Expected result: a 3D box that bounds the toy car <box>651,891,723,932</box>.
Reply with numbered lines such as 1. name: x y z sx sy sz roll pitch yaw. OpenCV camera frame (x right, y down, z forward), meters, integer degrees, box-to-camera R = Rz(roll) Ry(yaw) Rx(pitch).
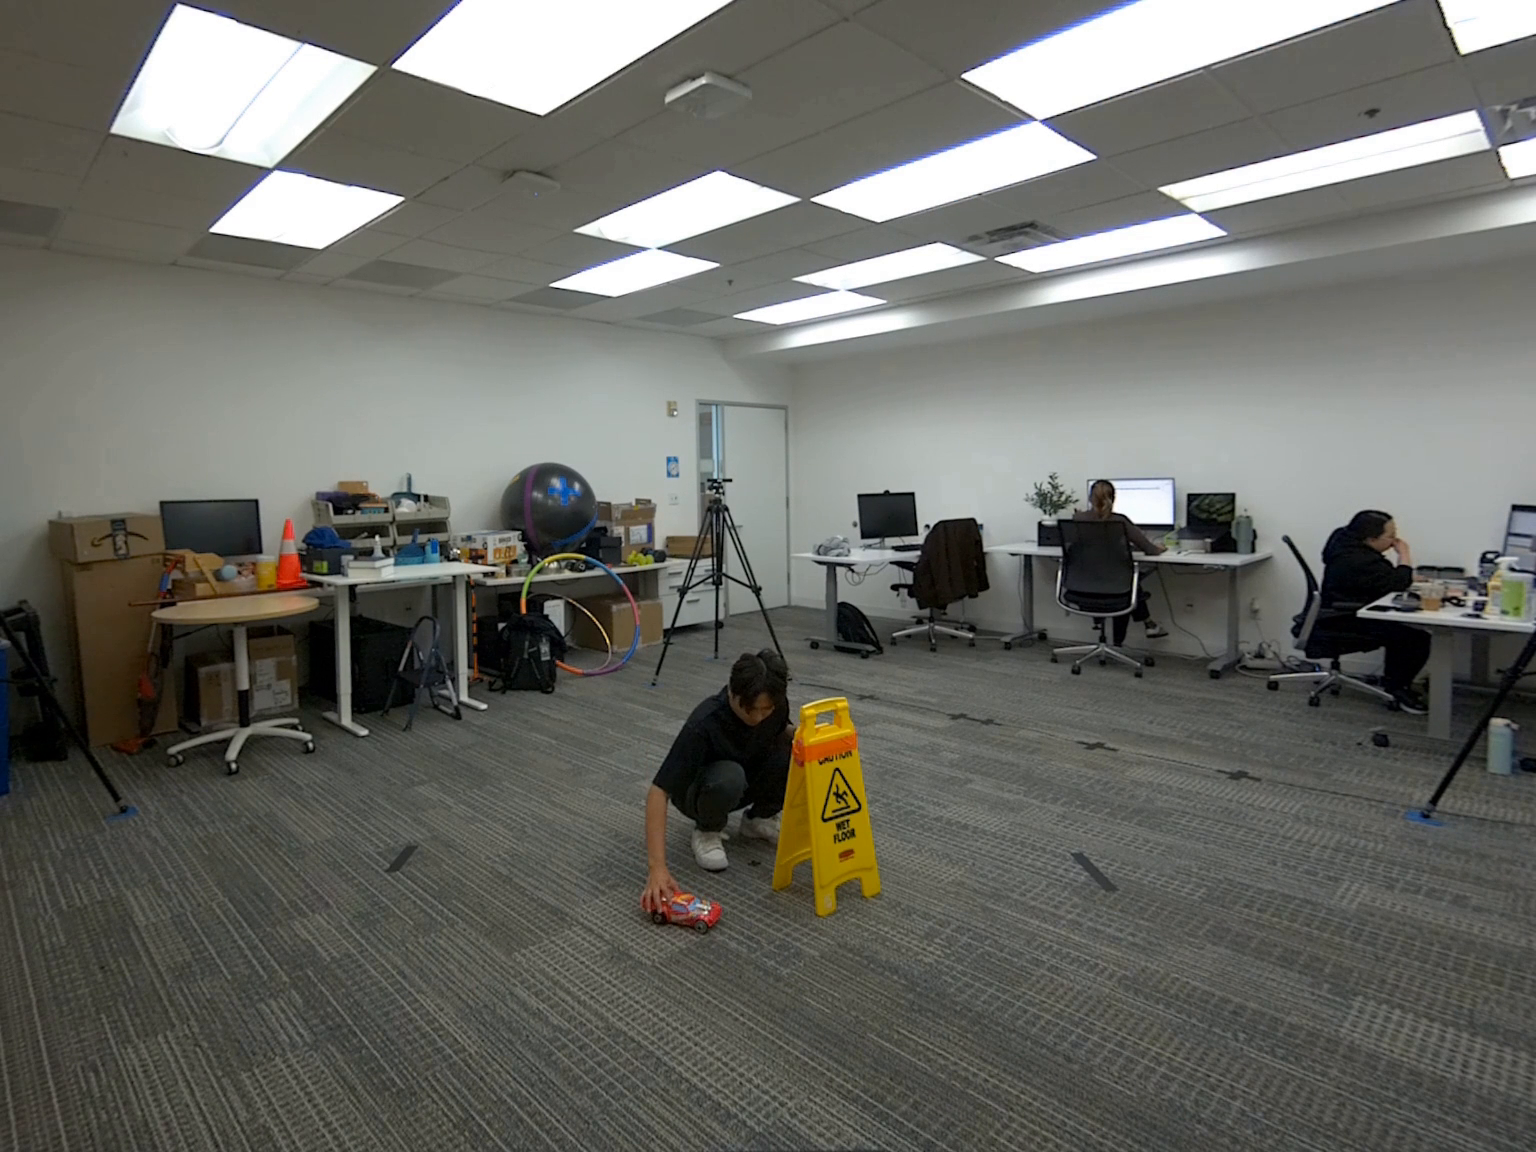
1. toy car: -0.275 1.068 2.723 0.260 0.082 0.128 11 13 21
